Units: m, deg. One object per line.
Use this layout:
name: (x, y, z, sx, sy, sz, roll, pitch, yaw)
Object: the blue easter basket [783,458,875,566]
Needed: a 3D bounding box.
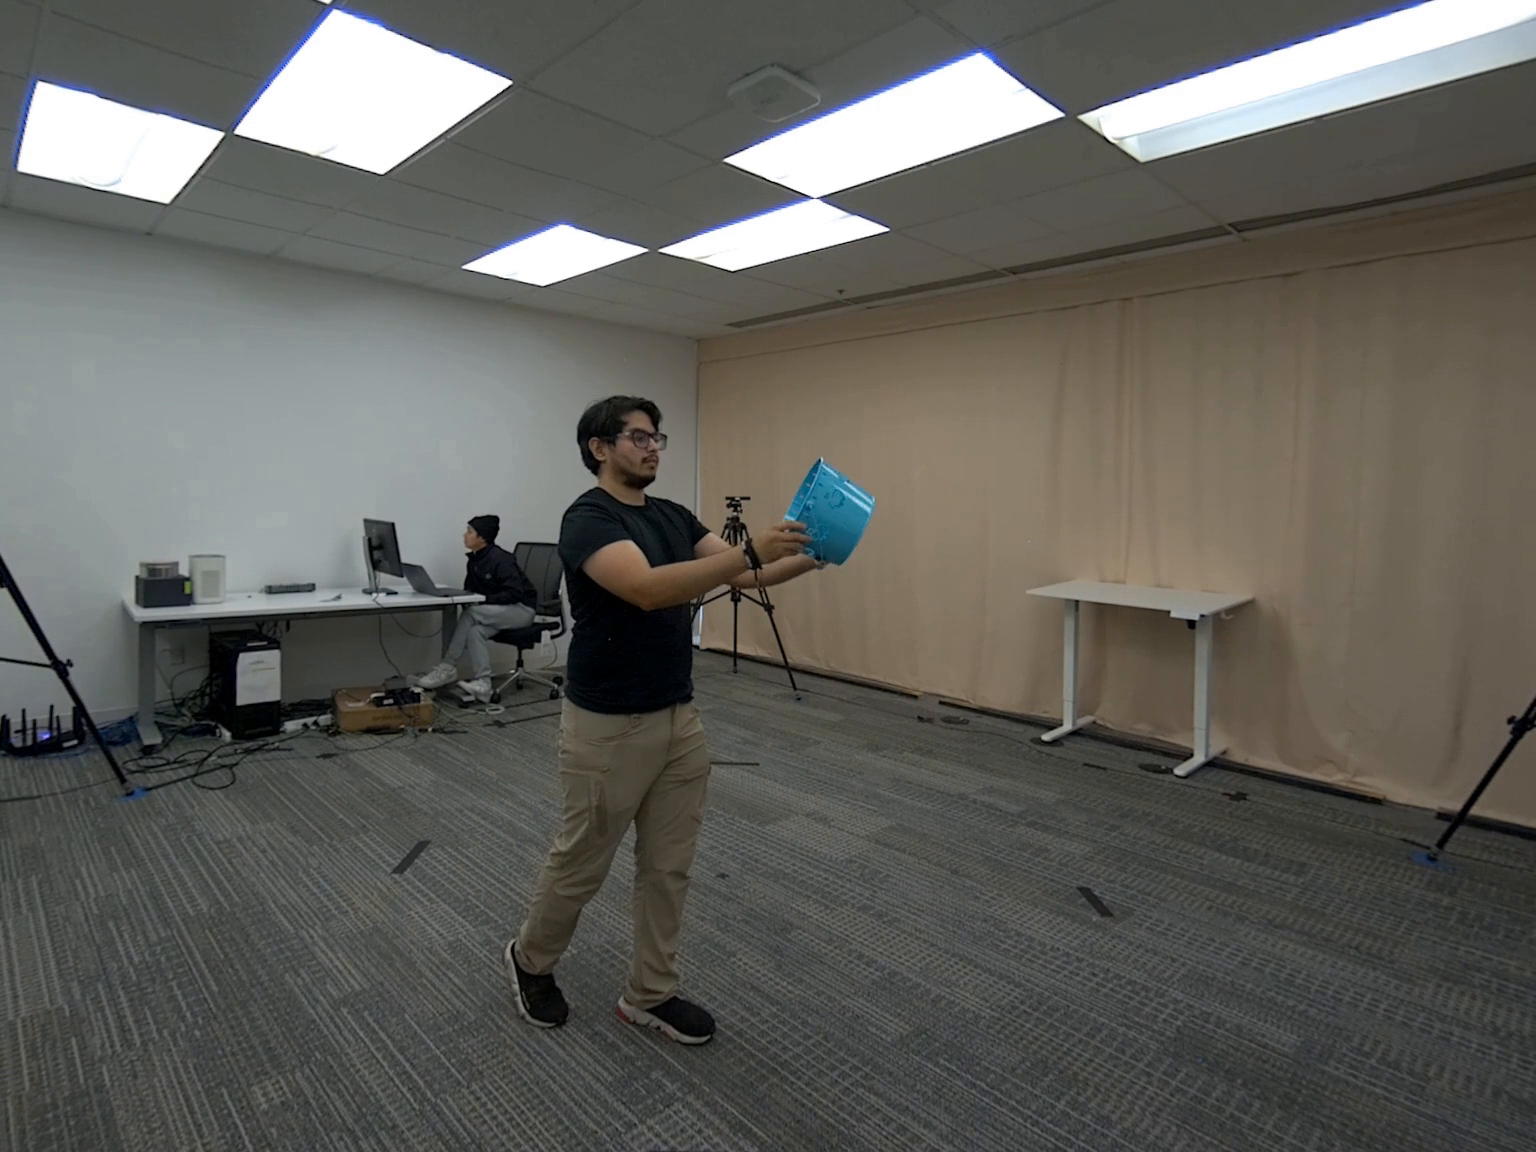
blue easter basket: (0.132, -0.136, 1.946, 0.154, 0.243, 0.246, 28, 0, -9)
